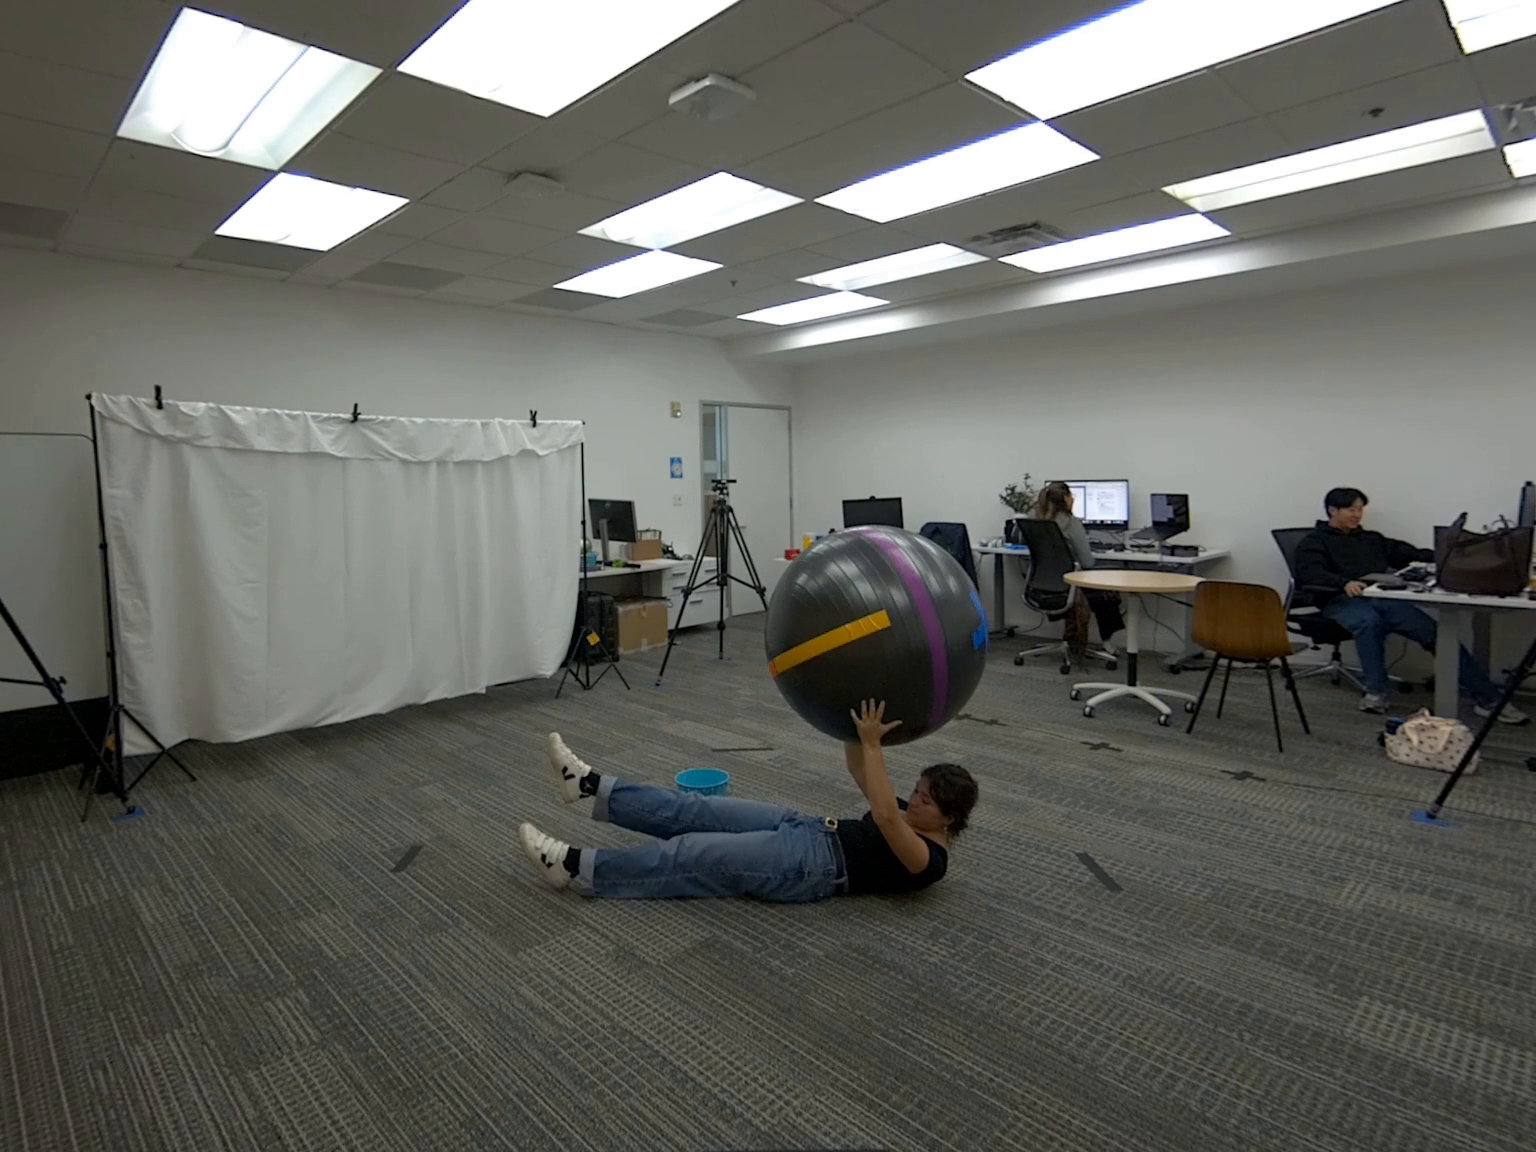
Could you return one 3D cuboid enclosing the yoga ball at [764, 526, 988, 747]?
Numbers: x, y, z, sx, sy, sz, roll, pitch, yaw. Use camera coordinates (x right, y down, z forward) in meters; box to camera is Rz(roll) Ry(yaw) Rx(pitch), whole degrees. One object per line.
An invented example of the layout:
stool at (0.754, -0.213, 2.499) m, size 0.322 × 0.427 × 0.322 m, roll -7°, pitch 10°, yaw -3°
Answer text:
yoga ball at (0.363, 0.207, 2.958) m, size 0.757 × 0.755 × 0.762 m, roll -1°, pitch 5°, yaw -2°
